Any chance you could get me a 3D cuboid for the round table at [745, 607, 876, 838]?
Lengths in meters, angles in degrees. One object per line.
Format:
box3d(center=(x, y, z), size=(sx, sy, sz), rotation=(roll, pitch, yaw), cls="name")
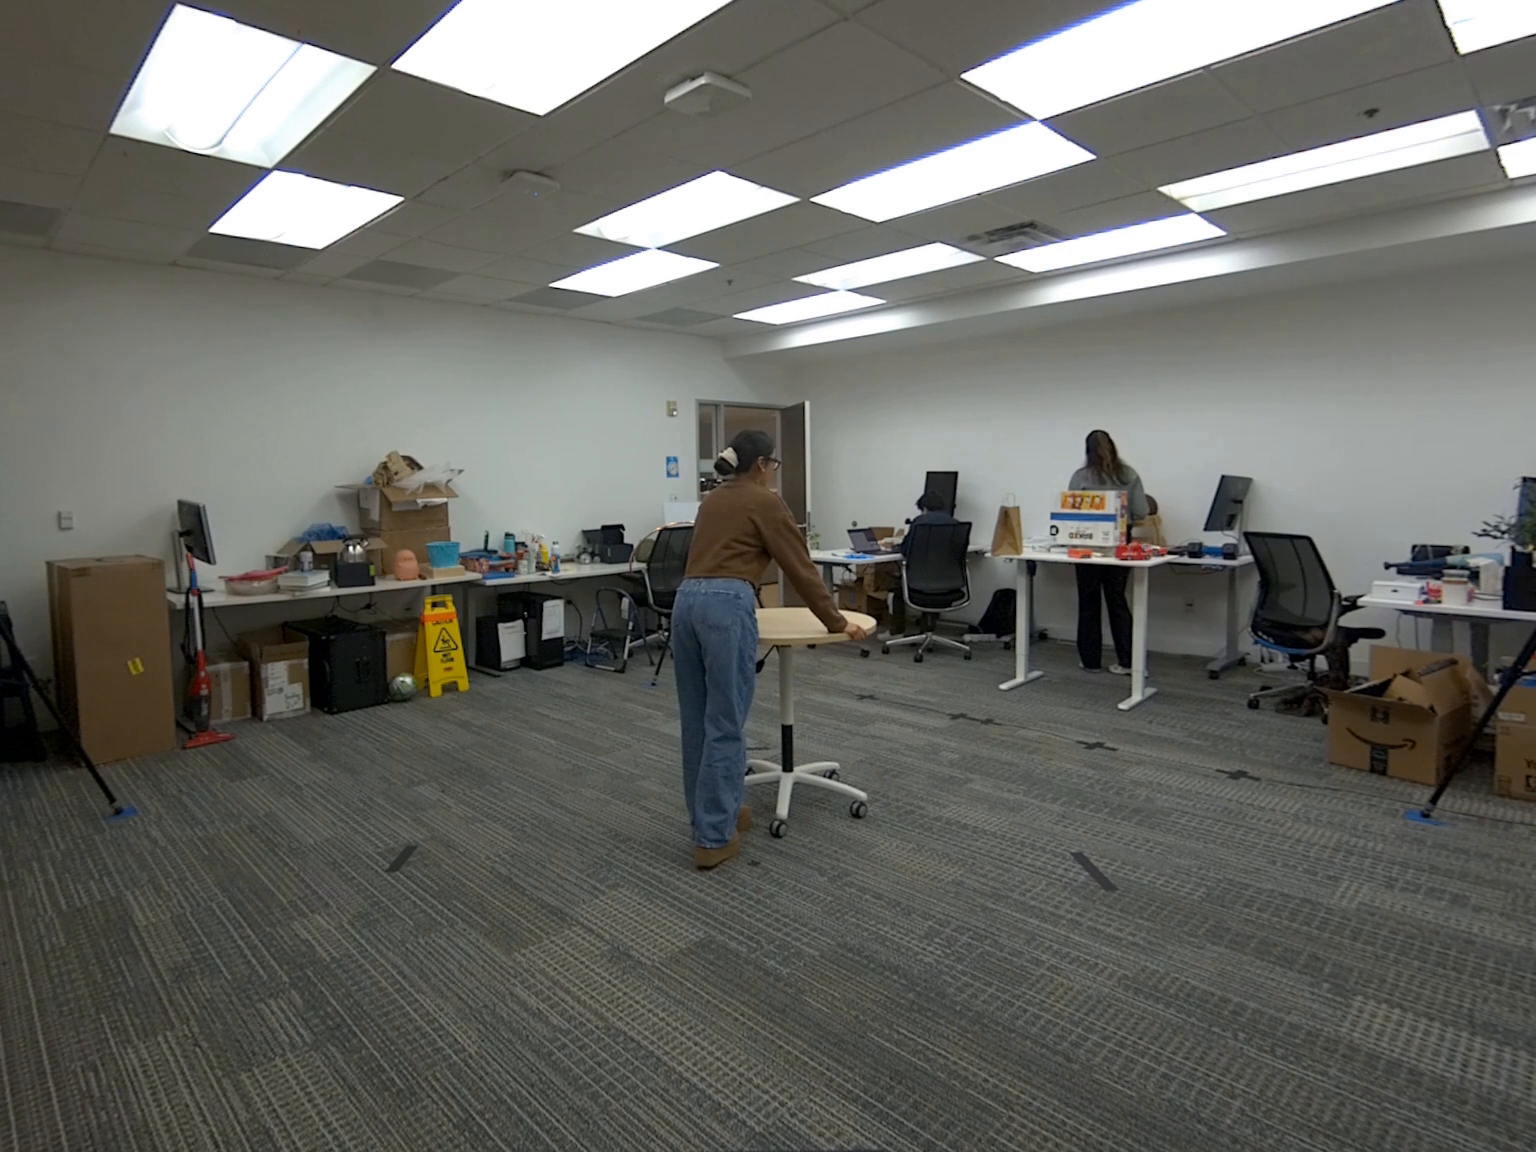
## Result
box3d(center=(0.080, 0.586, 3.673), size=(0.784, 0.783, 0.789), rotation=(-1, 5, -2), cls="round table")
